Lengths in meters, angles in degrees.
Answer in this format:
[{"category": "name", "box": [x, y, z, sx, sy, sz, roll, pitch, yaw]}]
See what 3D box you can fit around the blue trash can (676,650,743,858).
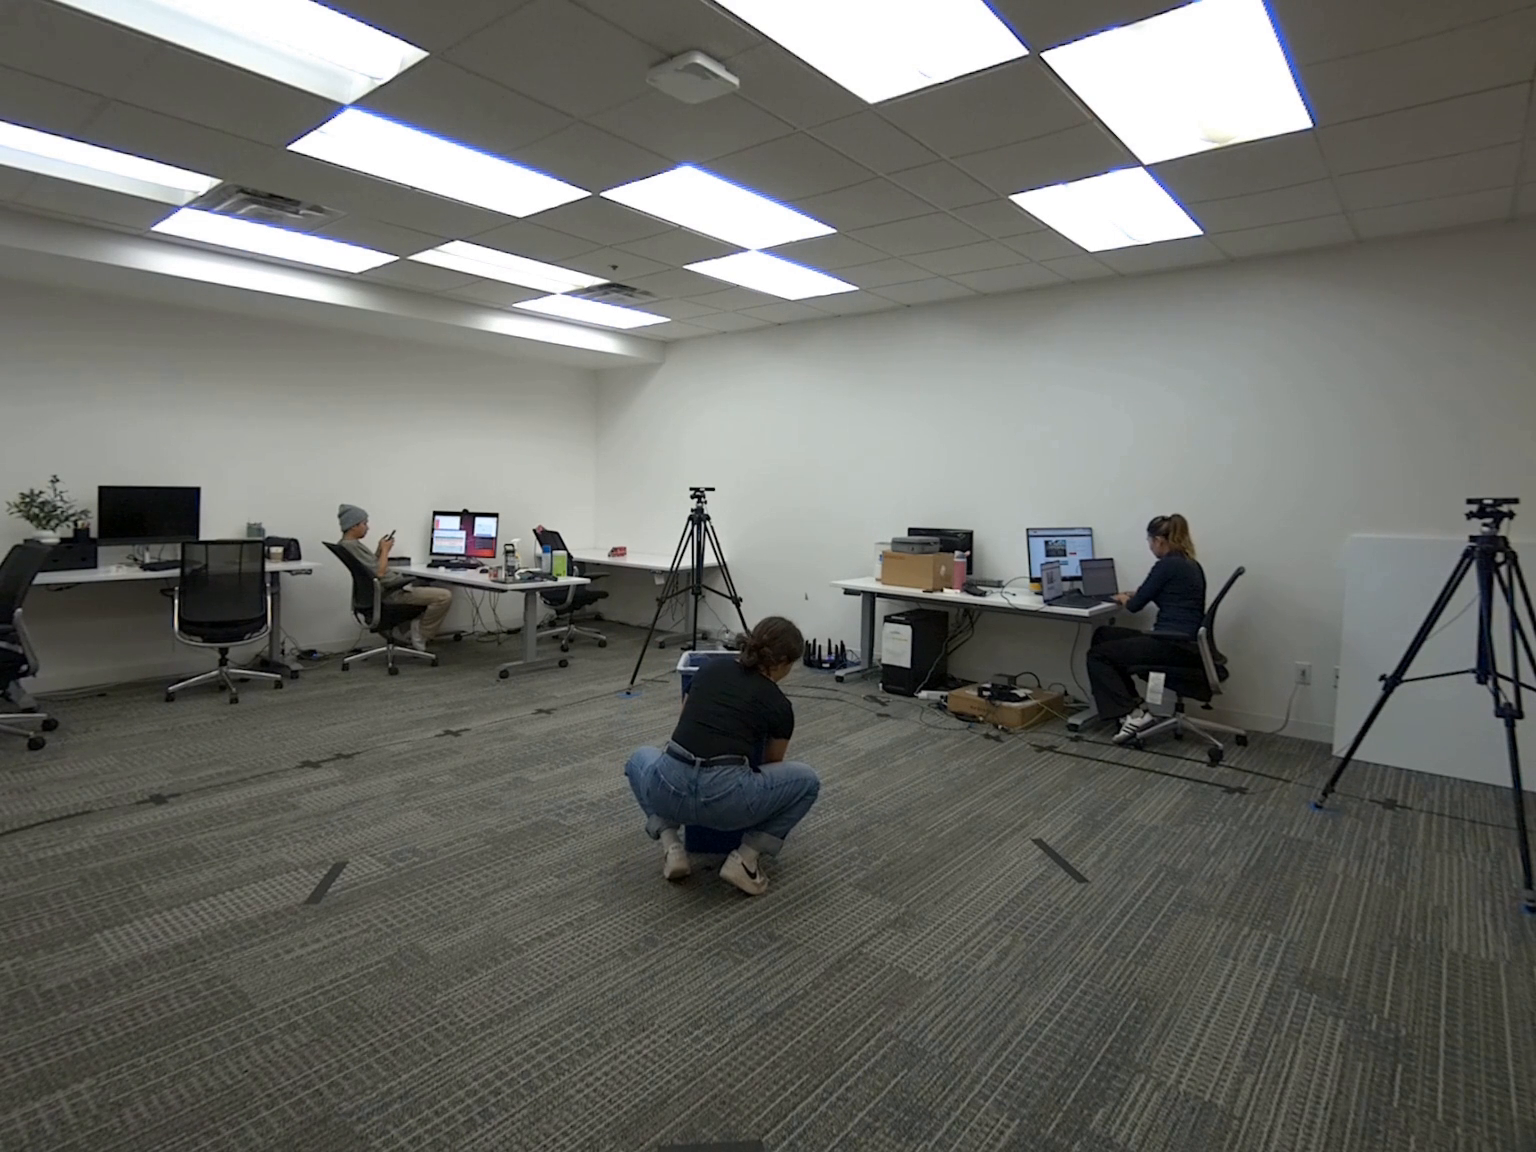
[{"category": "blue trash can", "box": [-0.182, 0.680, 3.369, 0.375, 0.712, 0.378, 1, 3, 1]}]
